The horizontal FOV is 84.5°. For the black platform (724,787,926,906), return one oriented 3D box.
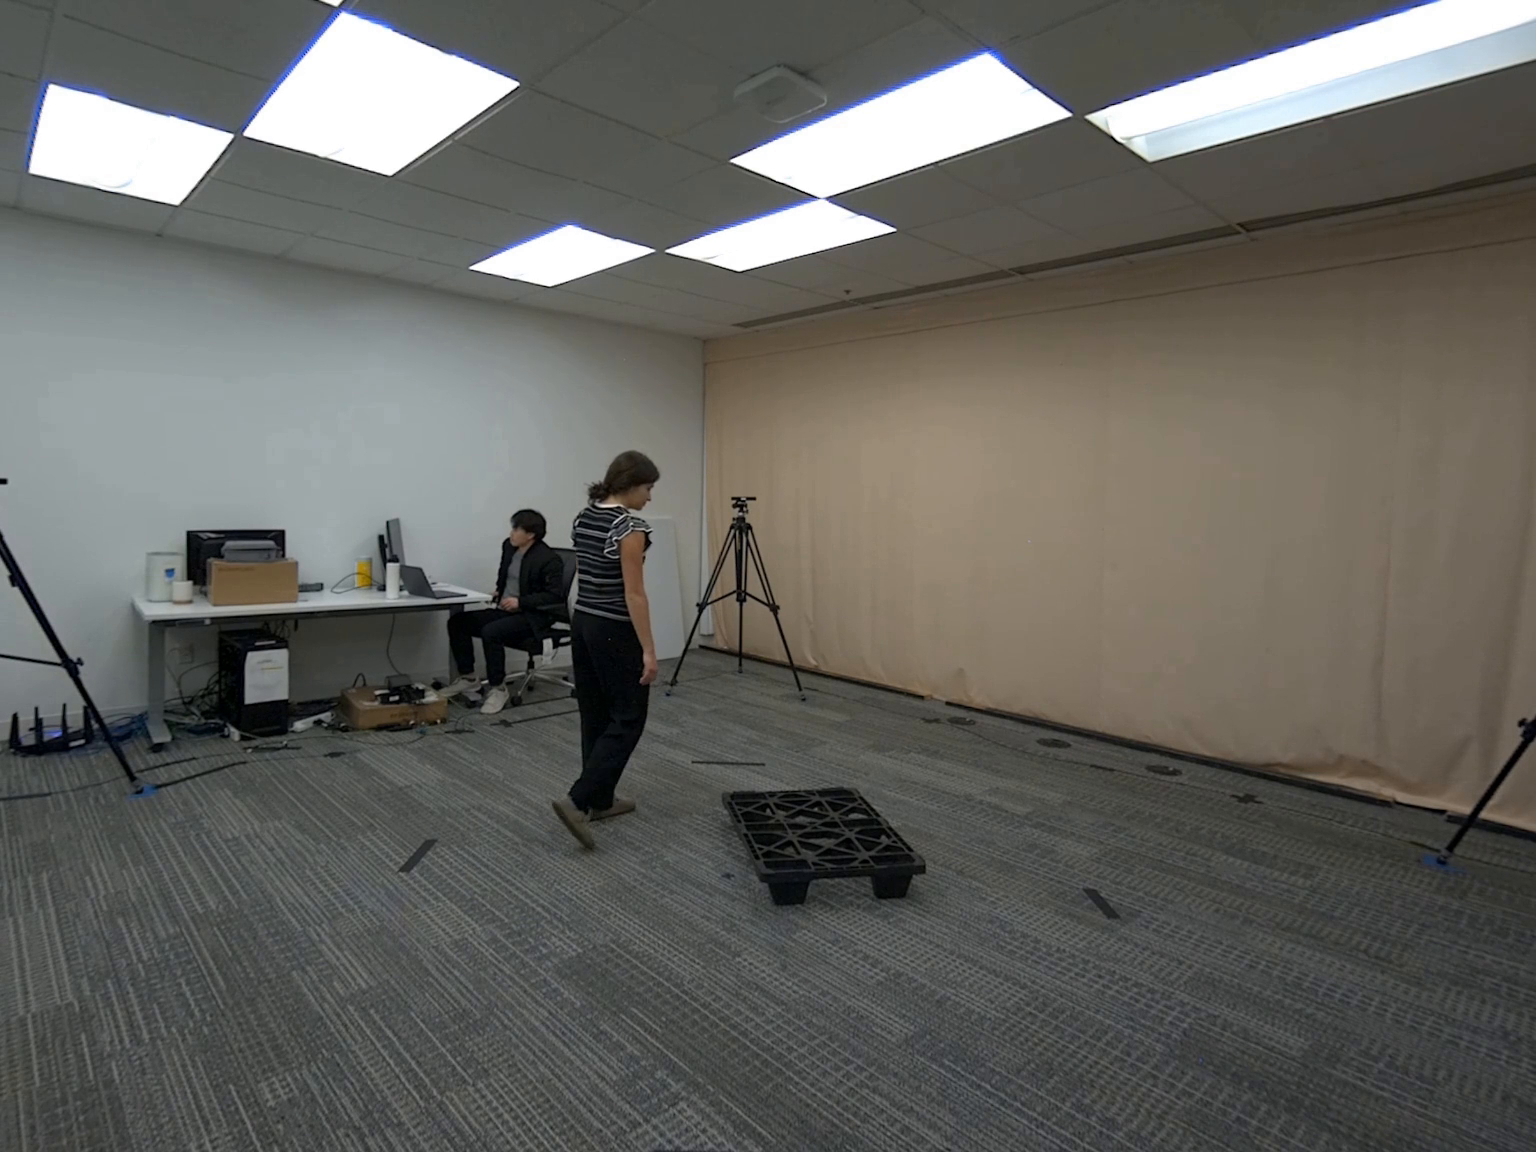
[{"bbox_3d":[0.168,1.029,3.276,0.599,0.143,0.815,1,5,-12],"label":"black platform"}]
